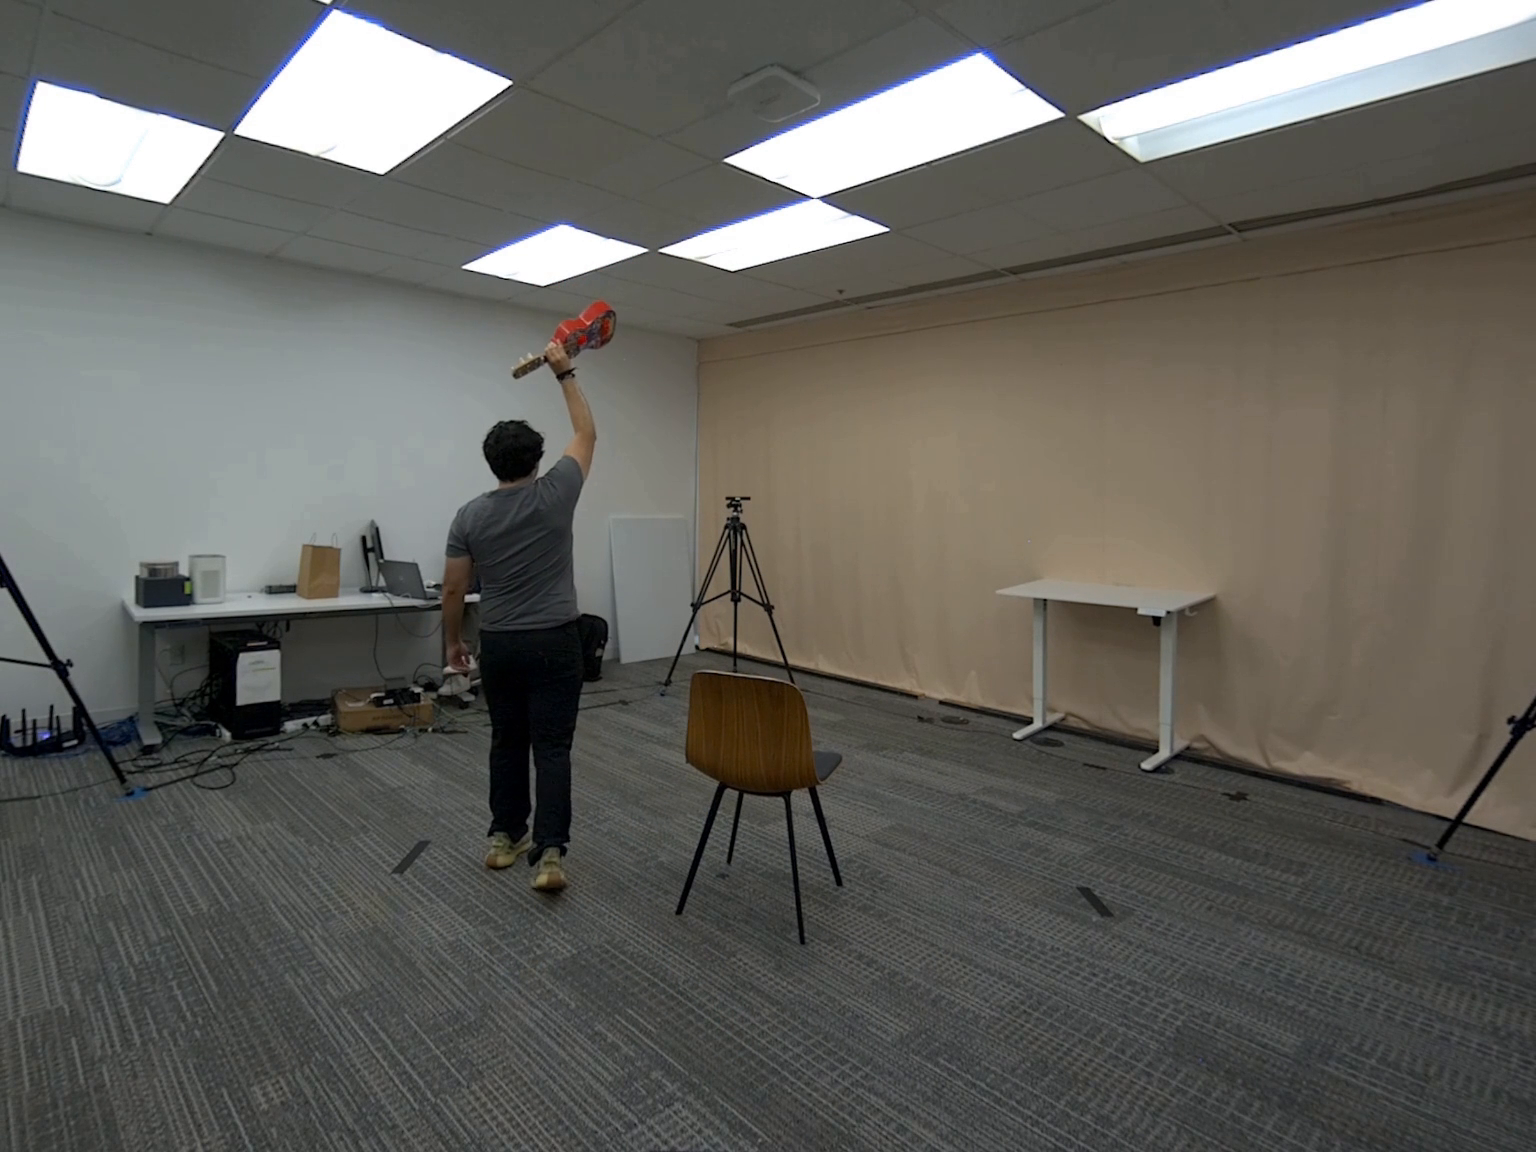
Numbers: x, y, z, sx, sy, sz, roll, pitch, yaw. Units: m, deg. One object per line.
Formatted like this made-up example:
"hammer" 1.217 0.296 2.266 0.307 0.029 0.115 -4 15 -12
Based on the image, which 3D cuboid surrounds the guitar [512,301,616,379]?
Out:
"guitar" -0.786 -0.907 3.204 0.072 0.191 0.494 42 51 15
